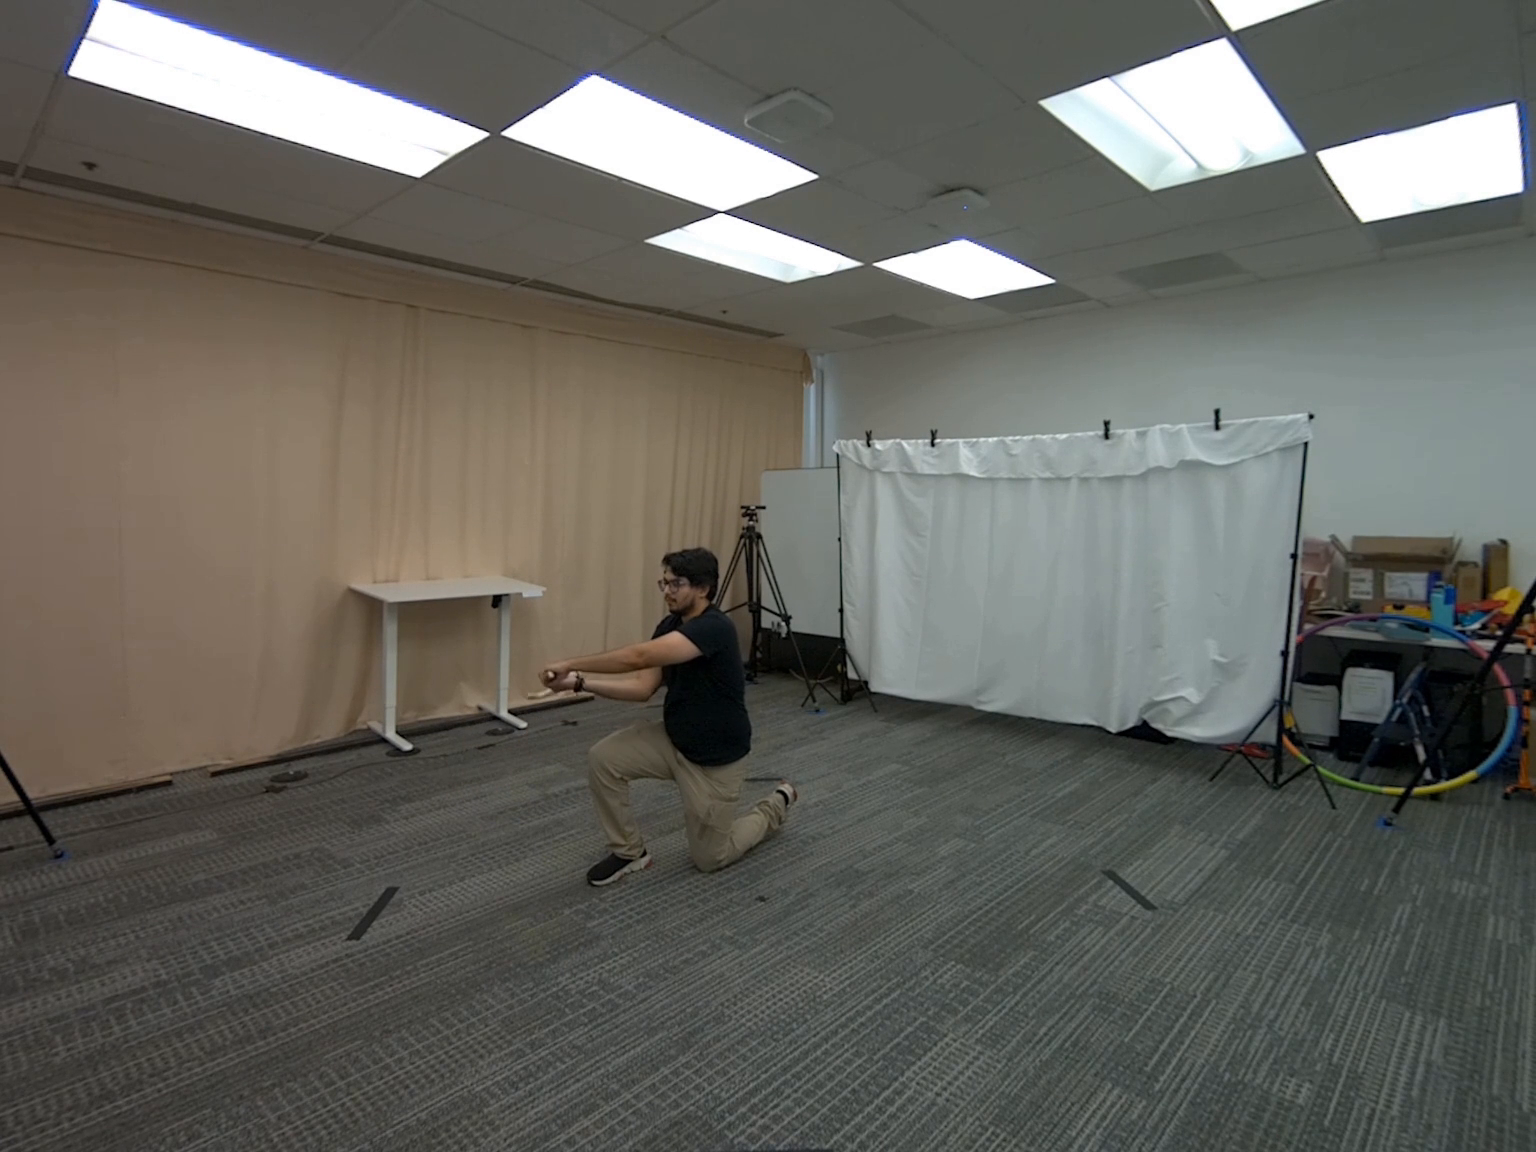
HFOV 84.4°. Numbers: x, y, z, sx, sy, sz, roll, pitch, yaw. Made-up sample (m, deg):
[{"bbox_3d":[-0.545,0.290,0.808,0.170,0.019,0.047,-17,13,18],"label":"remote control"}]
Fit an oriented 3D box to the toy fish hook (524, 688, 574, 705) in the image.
[{"bbox_3d":[-0.835,0.419,3.186,0.223,0.049,0.503,-30,-8,-8],"label":"toy fish hook"}]
